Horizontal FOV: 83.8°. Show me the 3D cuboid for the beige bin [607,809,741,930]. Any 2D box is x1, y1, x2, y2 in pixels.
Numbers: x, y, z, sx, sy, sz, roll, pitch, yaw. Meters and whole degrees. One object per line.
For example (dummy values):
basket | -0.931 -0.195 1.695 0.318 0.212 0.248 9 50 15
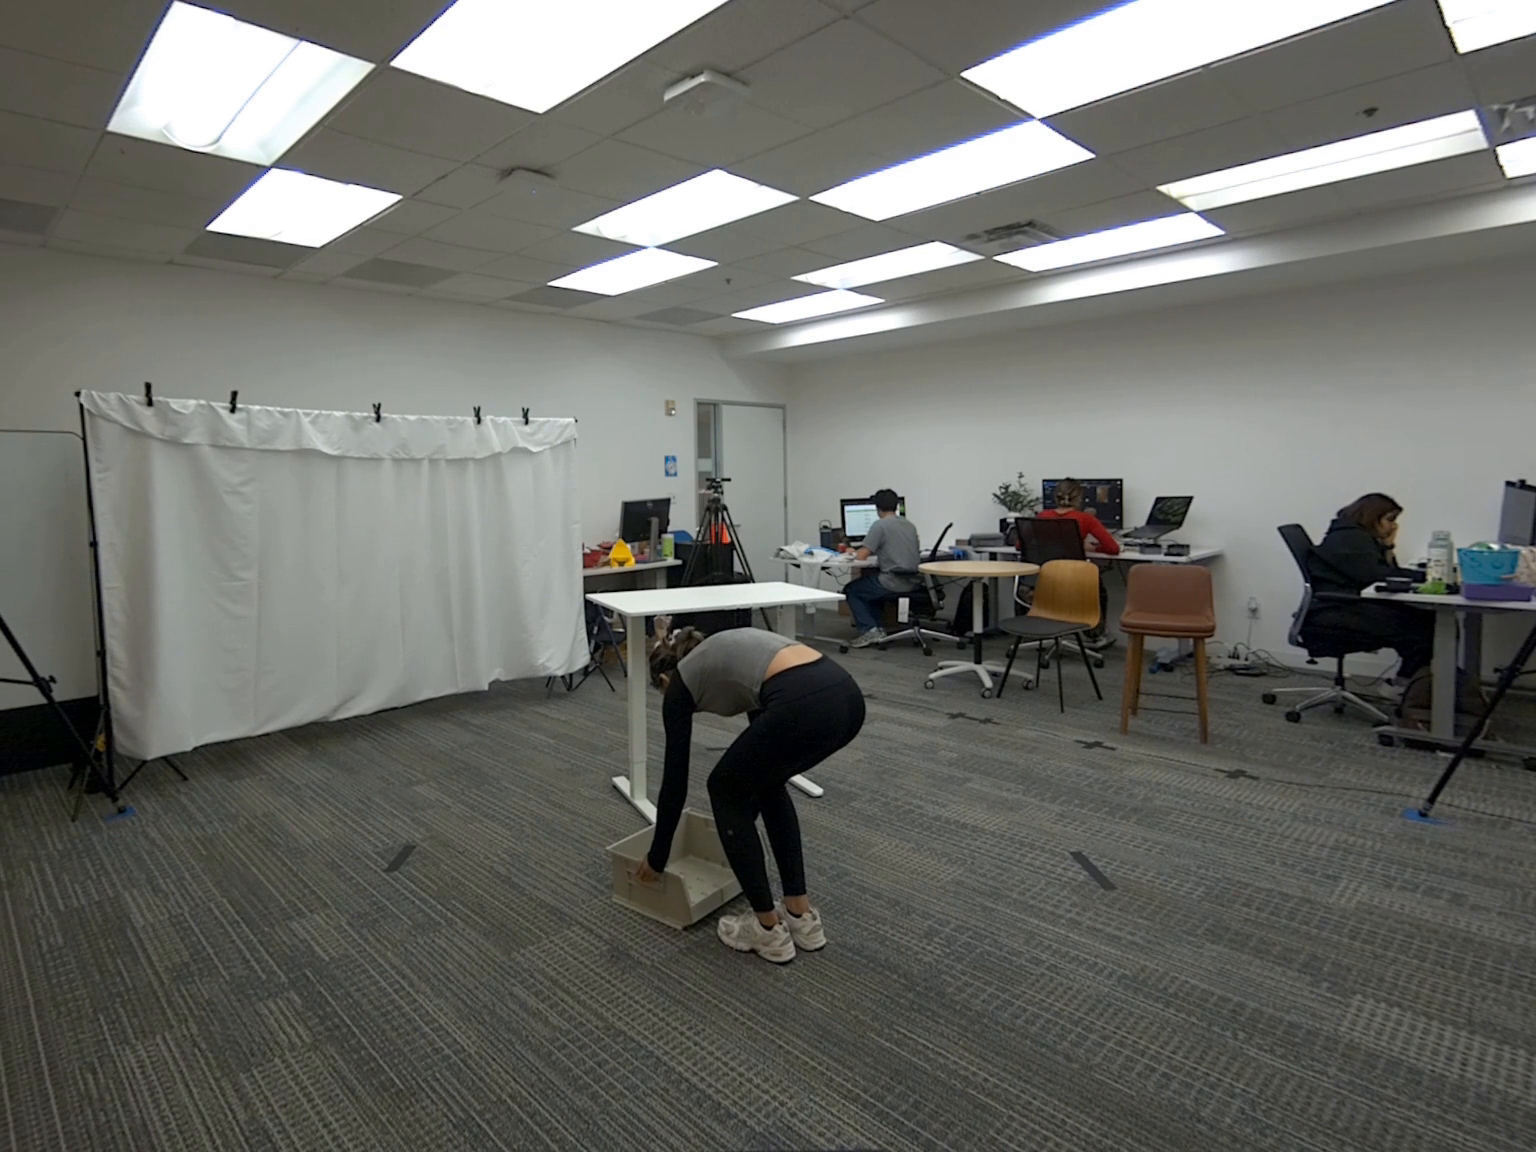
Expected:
beige bin | -0.263 0.974 2.887 0.388 0.188 0.412 2 8 38
